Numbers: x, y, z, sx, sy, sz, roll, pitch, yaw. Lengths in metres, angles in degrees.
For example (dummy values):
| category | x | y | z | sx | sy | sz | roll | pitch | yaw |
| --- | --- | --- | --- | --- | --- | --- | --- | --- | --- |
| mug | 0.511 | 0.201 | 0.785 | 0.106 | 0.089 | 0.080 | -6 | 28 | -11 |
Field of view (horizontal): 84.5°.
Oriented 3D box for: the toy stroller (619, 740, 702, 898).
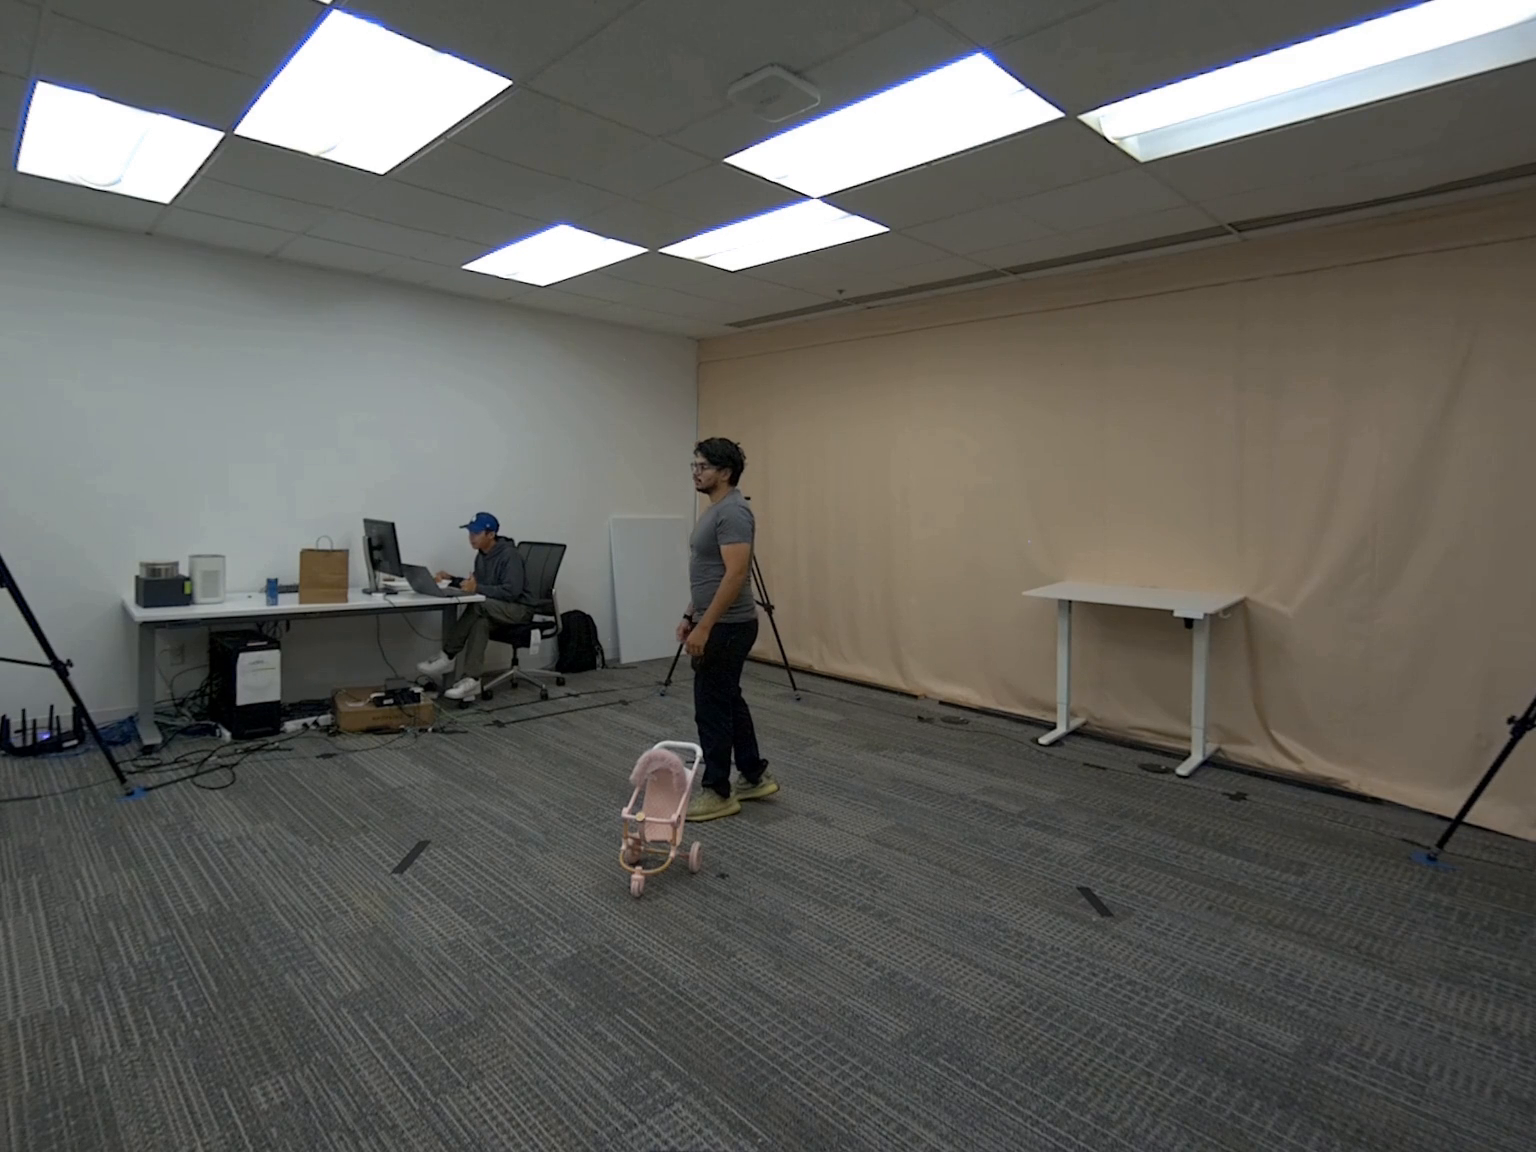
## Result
| category | x | y | z | sx | sy | sz | roll | pitch | yaw |
| --- | --- | --- | --- | --- | --- | --- | --- | --- | --- |
| toy stroller | -0.416 | 0.882 | 3.094 | 0.286 | 0.539 | 0.333 | 2 | -12 | 20 |
